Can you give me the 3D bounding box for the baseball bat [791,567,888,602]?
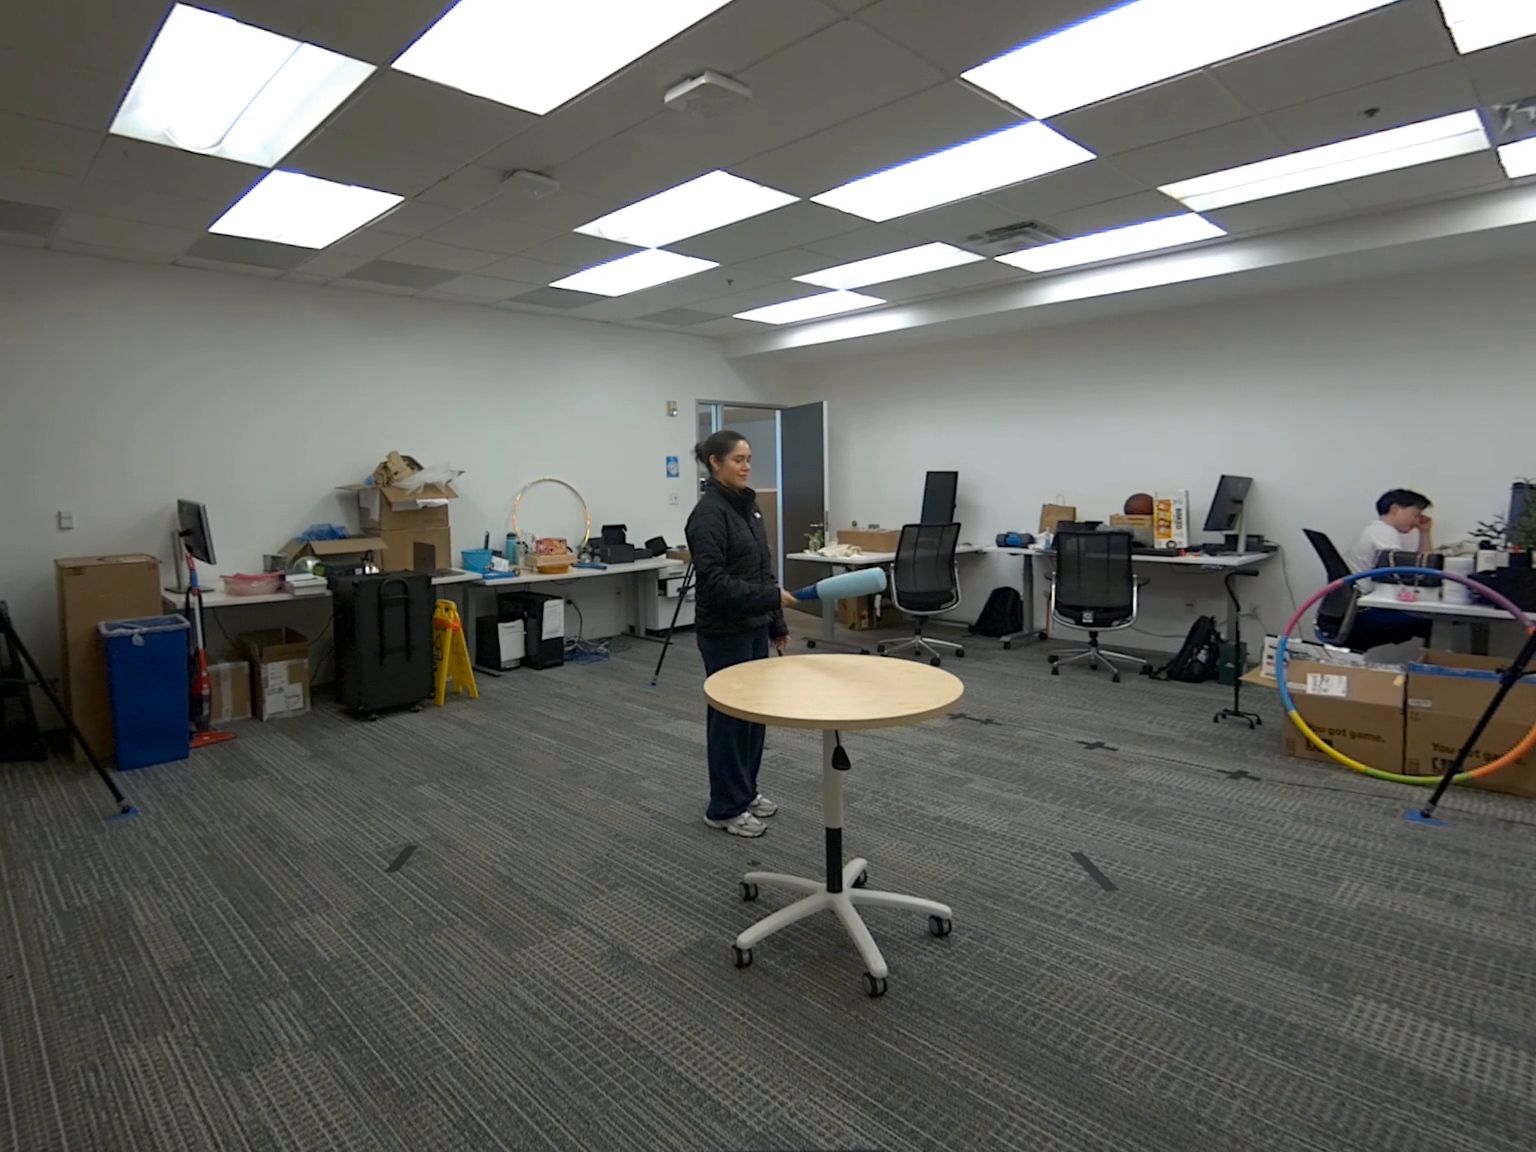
[{"bbox_3d":[0.177,0.038,3.177,0.553,0.089,0.087,-15,-2,29],"label":"baseball bat"}]
